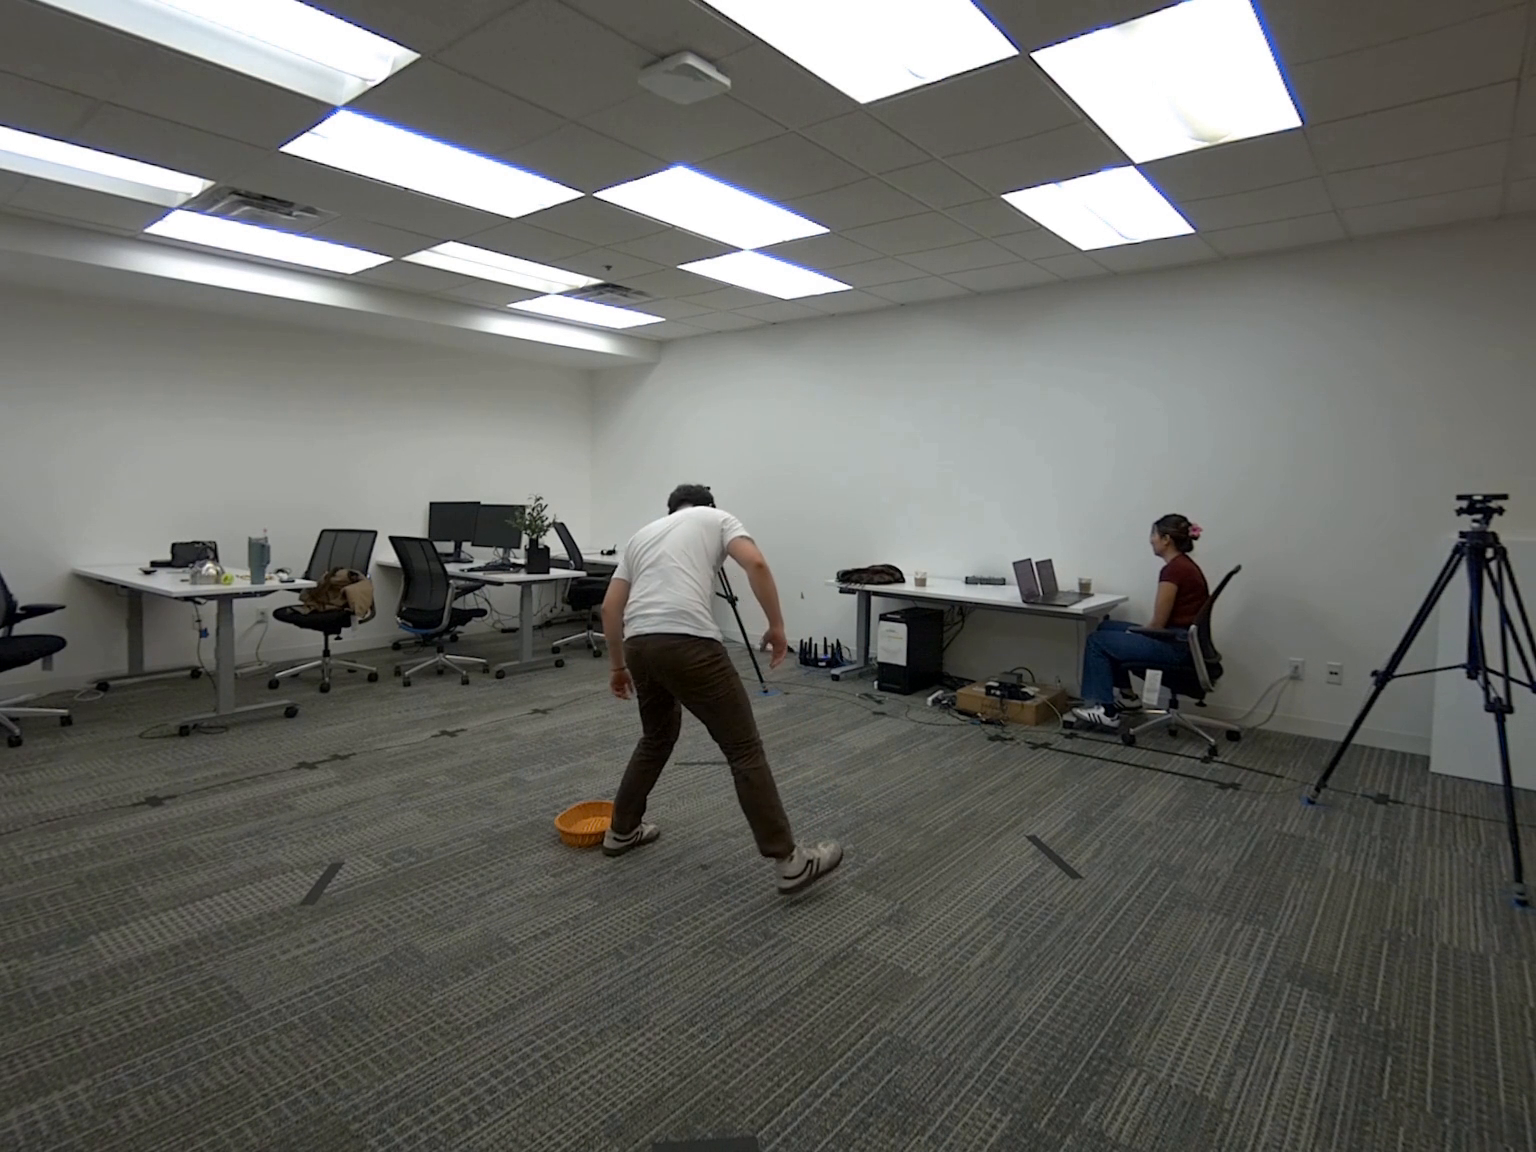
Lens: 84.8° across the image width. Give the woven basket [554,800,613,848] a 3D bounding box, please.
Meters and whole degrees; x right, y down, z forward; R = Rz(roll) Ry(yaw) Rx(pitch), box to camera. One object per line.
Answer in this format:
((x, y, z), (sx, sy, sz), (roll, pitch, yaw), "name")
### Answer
((-0.717, 0.989, 3.407), (0.258, 0.073, 0.344), (4, 6, 20), "woven basket")
